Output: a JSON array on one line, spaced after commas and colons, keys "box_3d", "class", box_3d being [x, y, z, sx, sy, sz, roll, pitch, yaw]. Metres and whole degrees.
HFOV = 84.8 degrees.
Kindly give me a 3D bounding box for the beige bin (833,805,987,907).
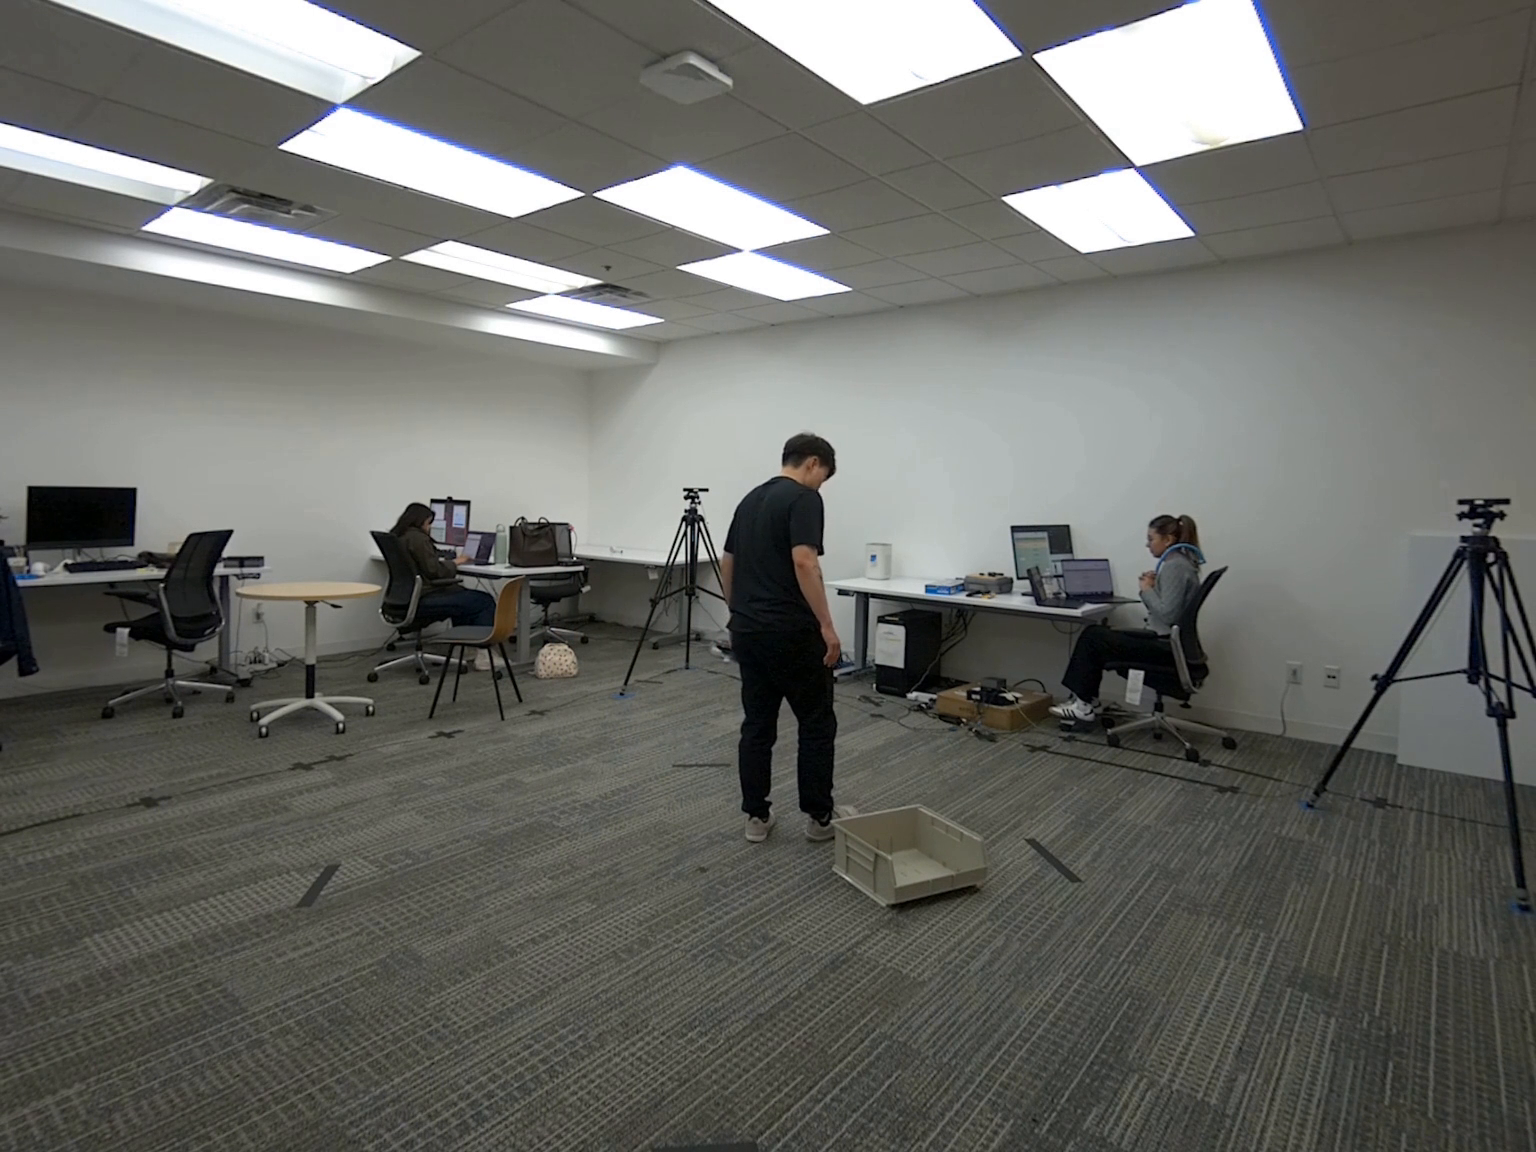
[{"box_3d": [0.499, 1.001, 3.060, 0.411, 0.188, 0.389, -3, 6, -29], "class": "beige bin"}]
